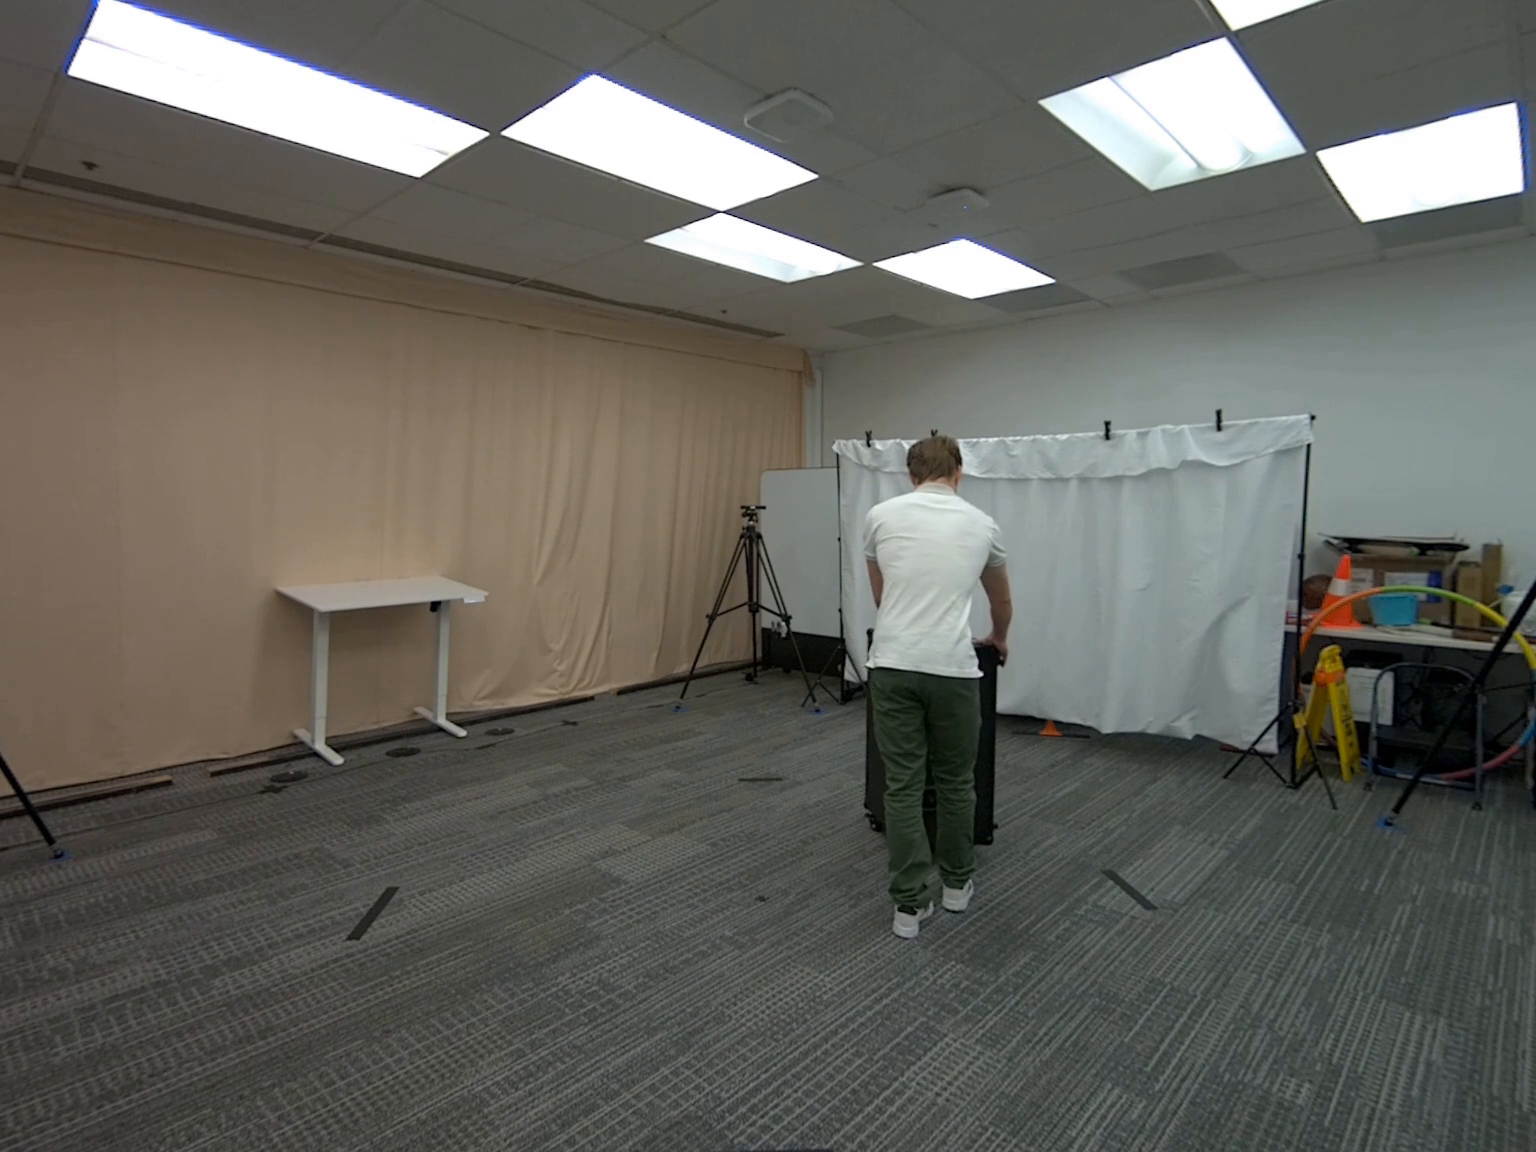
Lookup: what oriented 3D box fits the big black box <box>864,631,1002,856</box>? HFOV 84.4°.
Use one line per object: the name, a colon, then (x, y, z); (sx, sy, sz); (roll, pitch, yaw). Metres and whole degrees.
big black box: (0.661, 0.680, 3.476); (0.380, 0.867, 0.531); (0, 3, -13)
